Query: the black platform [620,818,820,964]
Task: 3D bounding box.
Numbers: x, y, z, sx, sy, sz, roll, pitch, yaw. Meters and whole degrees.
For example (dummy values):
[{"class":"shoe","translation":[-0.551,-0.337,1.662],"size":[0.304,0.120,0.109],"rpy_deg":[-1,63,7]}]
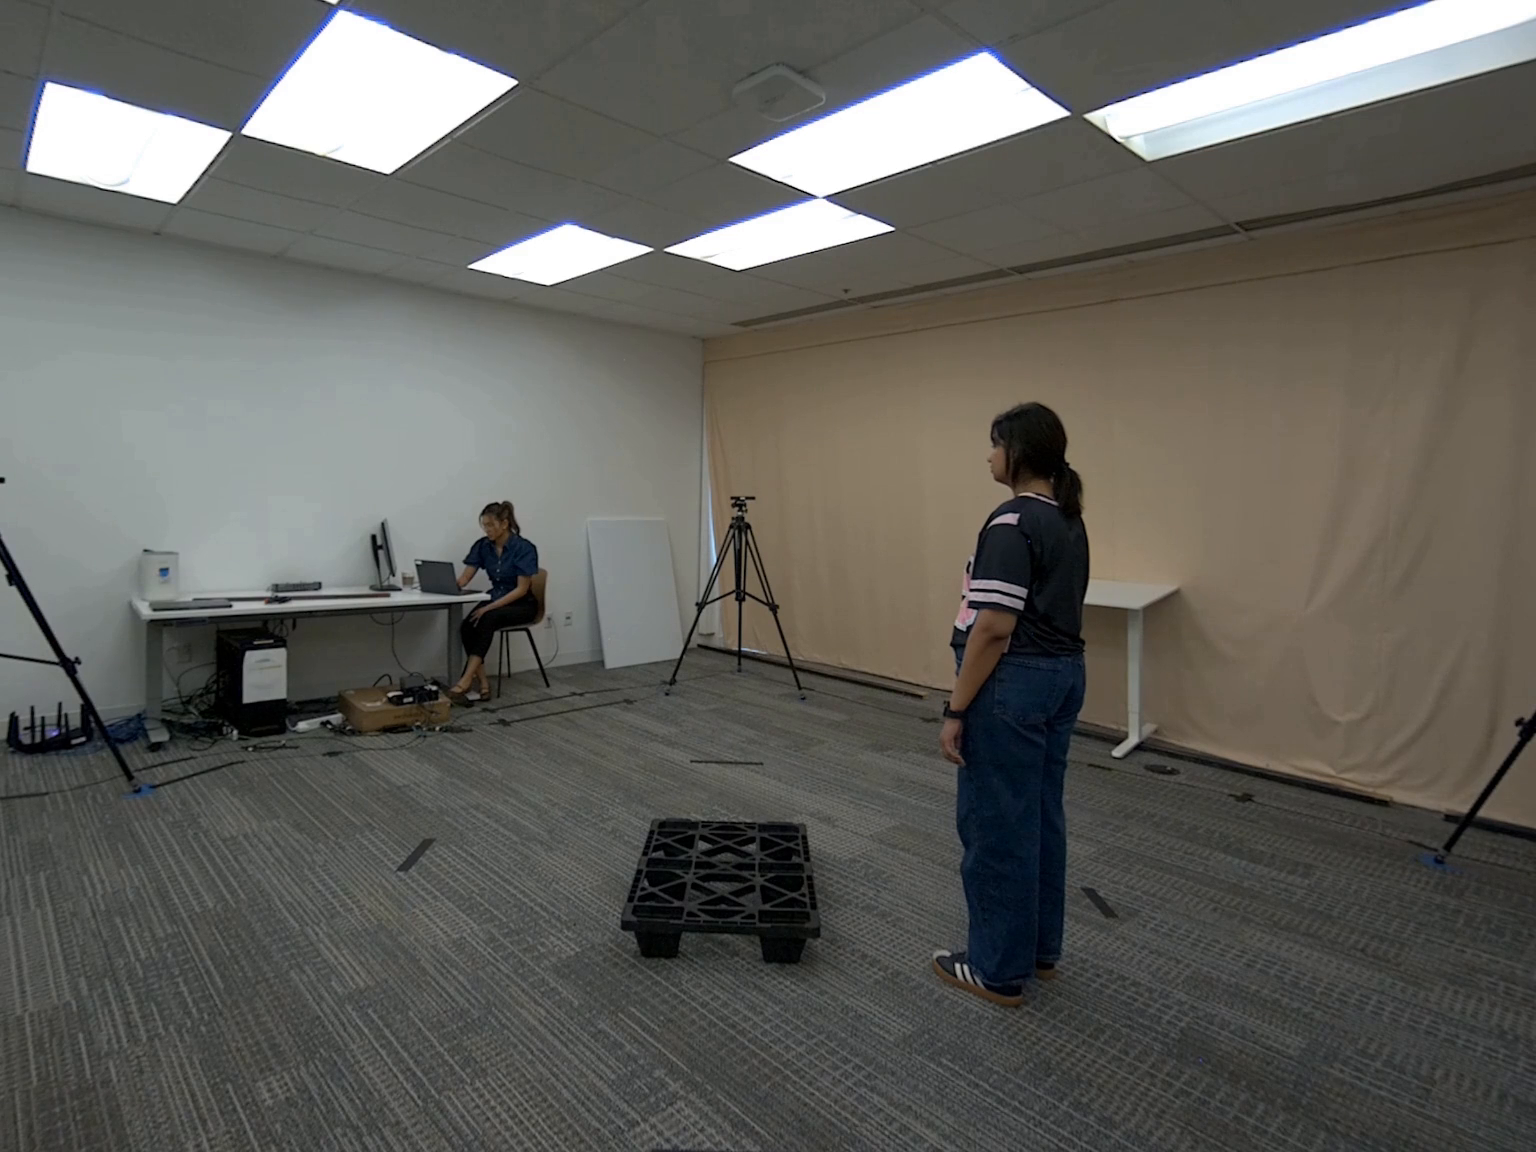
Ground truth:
[{"class":"black platform","translation":[-0.159,1.057,2.887],"size":[0.606,0.143,0.807],"rpy_deg":[1,5,0]}]
